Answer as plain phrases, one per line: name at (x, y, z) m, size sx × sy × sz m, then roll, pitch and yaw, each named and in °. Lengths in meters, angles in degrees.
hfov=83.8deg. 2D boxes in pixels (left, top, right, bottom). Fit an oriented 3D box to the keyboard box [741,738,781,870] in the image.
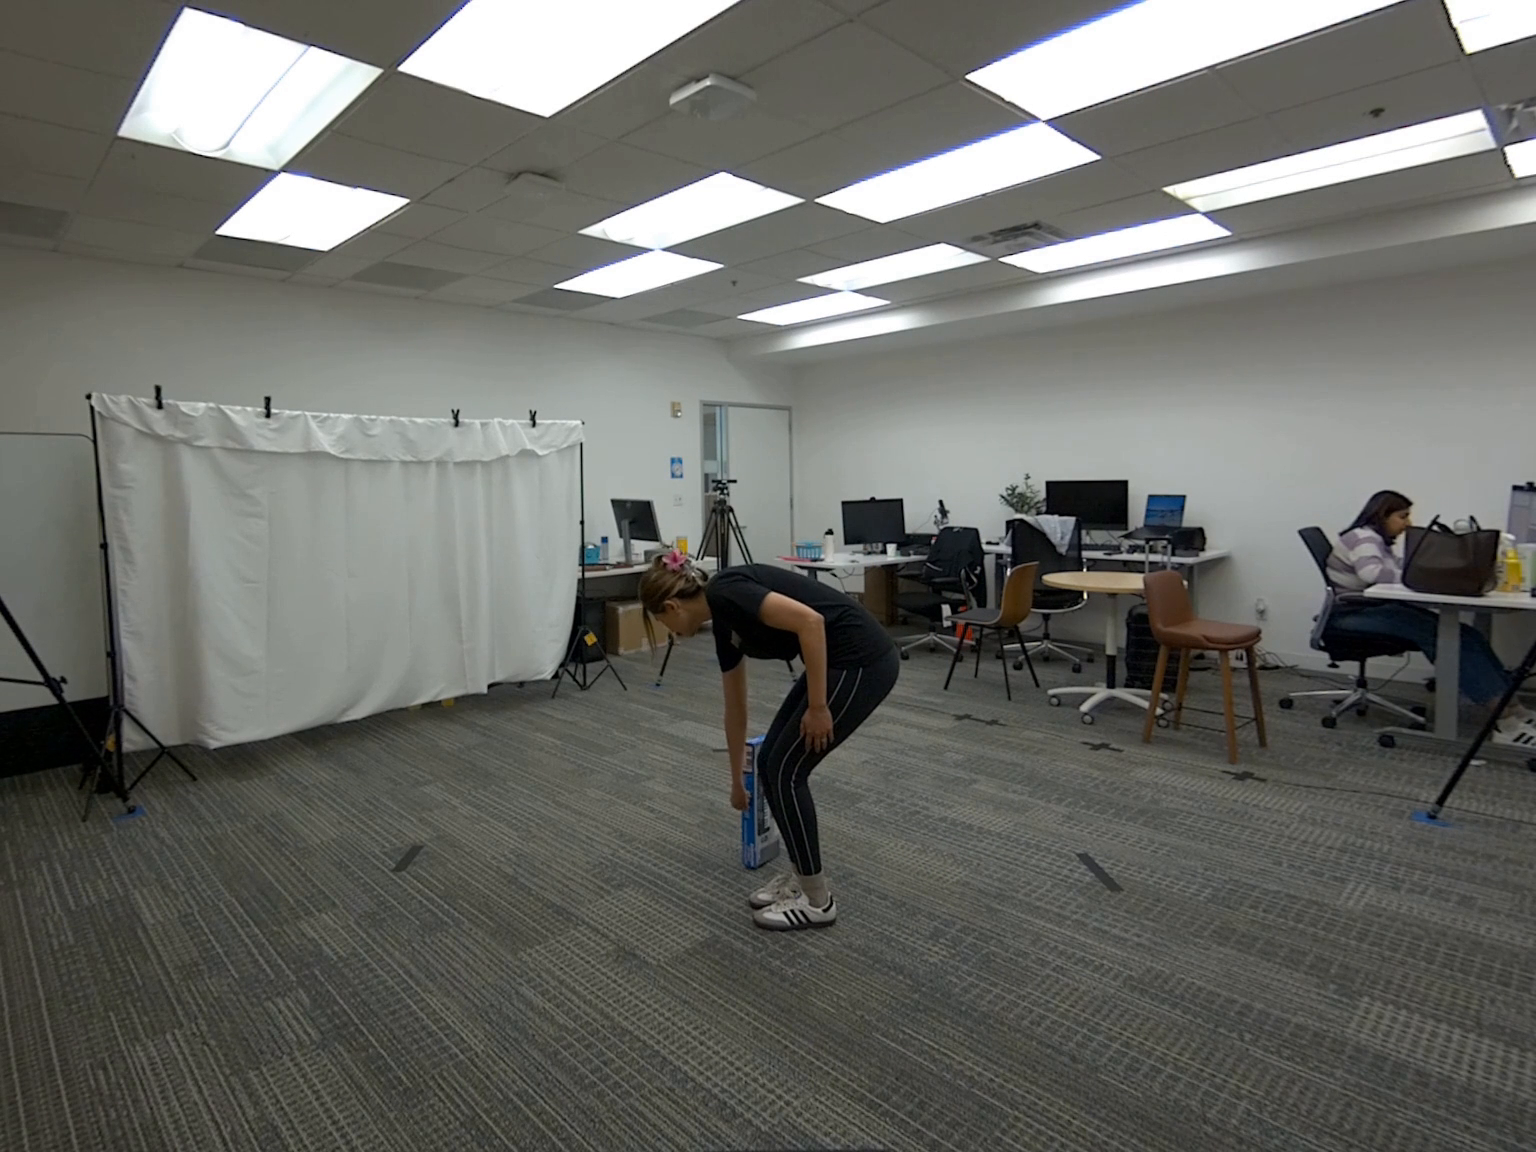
keyboard box at (-0.024, 0.820, 3.139) m, size 0.060 × 0.438 × 0.171 m, roll -3°, pitch -4°, yaw 31°
